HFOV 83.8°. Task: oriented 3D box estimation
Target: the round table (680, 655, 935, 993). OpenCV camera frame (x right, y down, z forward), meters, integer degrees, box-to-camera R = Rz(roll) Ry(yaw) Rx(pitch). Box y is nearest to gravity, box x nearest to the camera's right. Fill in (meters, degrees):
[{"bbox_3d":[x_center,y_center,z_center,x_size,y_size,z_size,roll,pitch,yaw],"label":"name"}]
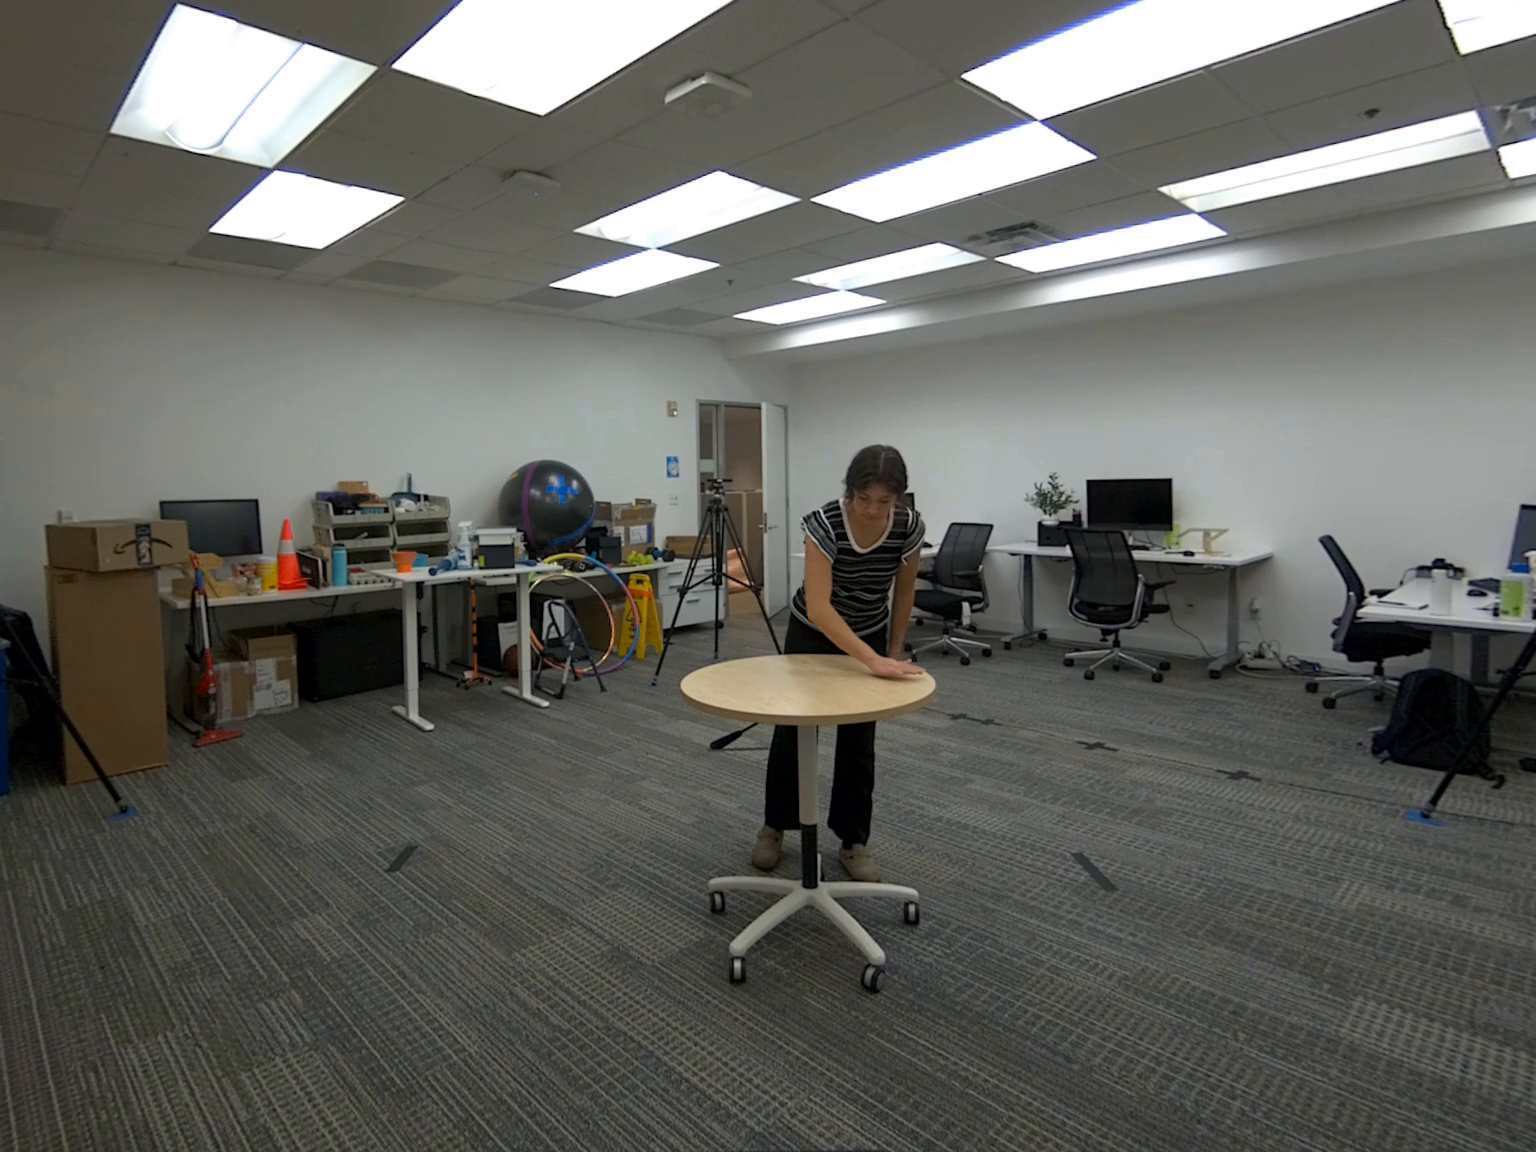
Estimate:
[{"bbox_3d":[0.128,0.714,2.608,0.763,0.791,0.768,-2,5,-2],"label":"round table"}]
